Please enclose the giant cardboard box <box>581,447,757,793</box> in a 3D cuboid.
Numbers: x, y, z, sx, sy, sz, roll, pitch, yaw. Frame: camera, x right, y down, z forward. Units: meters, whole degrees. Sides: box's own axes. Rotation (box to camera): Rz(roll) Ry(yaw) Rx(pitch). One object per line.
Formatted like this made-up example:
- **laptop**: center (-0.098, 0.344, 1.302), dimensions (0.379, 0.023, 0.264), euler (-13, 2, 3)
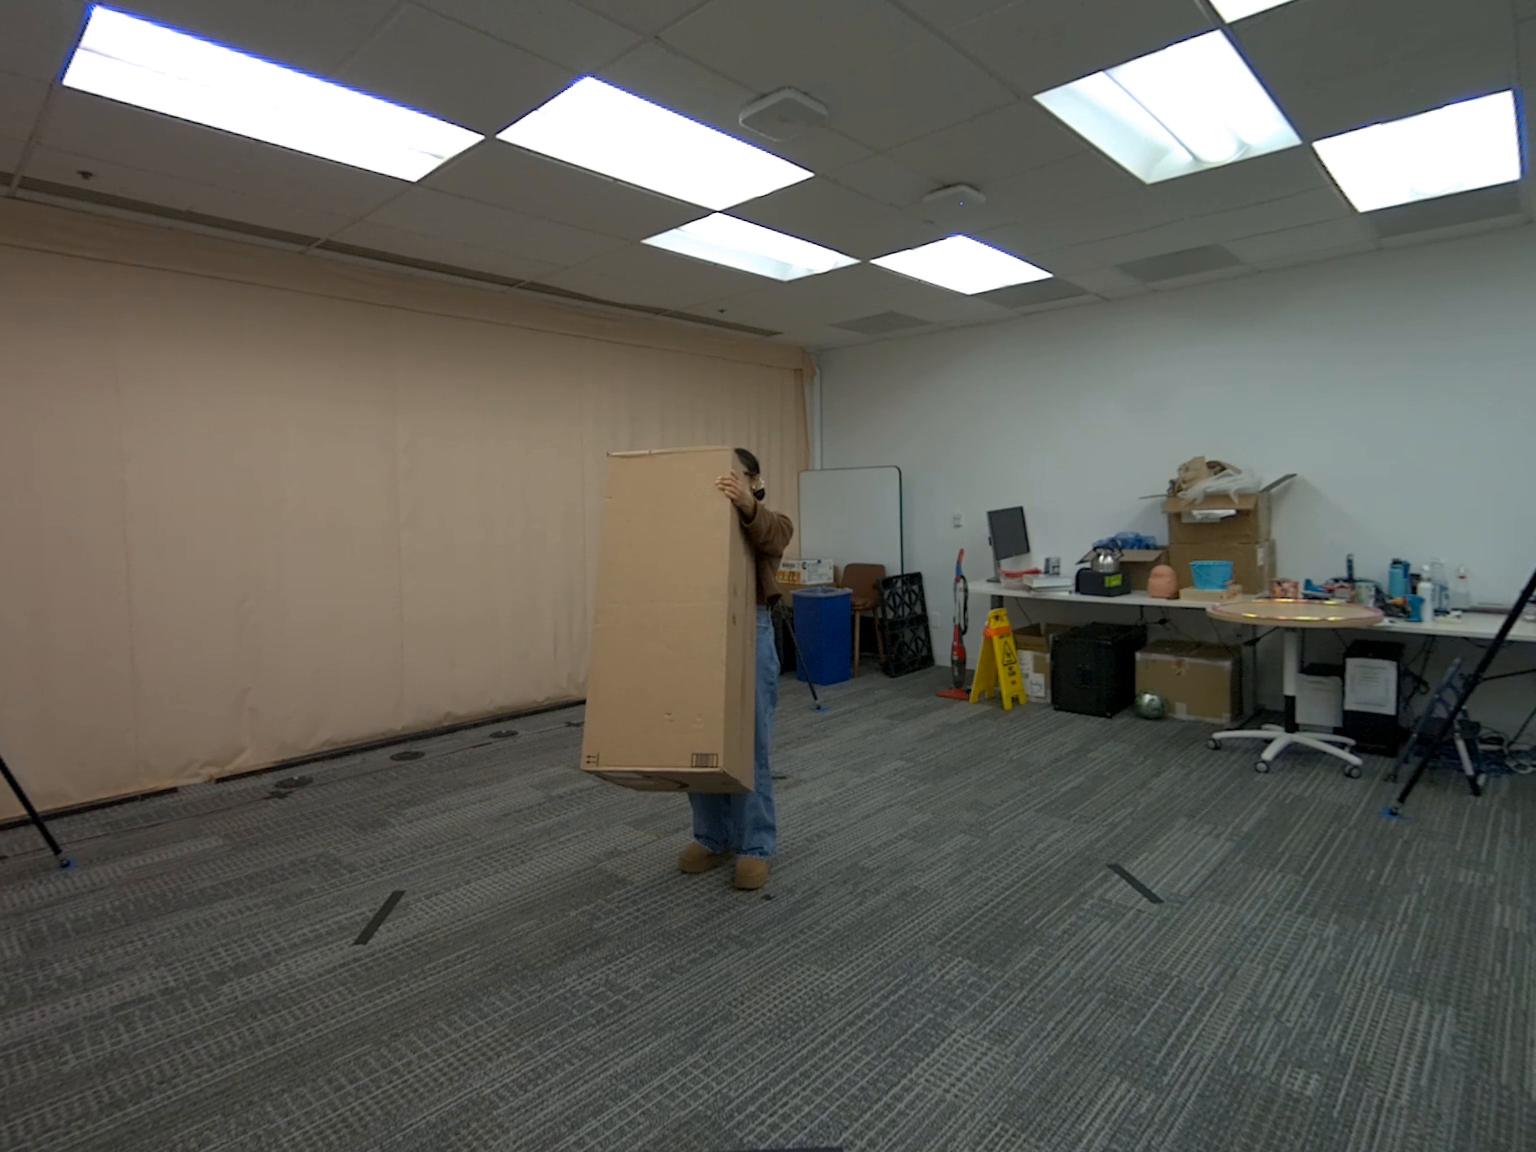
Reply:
- **giant cardboard box**: center (-0.288, 0.166, 2.820), dimensions (0.431, 1.038, 0.564), euler (-3, -21, 10)
